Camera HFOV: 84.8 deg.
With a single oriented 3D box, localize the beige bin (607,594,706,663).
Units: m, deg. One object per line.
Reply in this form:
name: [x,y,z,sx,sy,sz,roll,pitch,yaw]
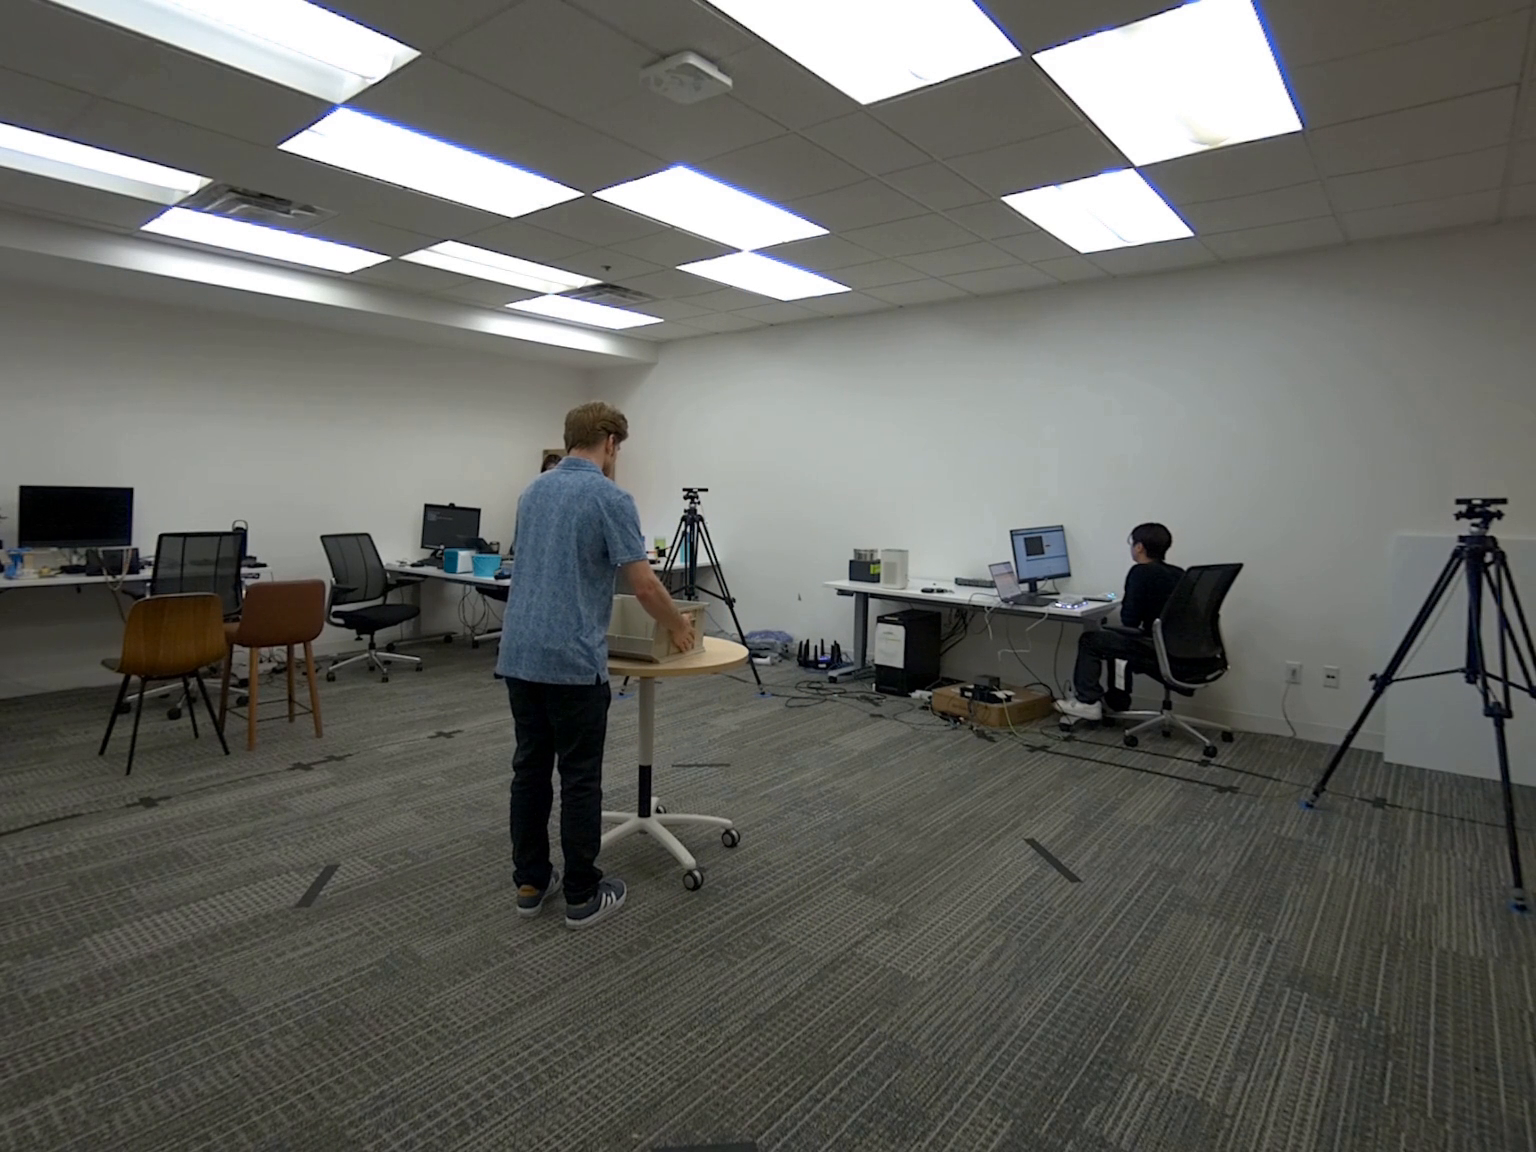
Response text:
beige bin: [-0.502,0.187,3.147,0.434,0.188,0.368,3,4,28]
